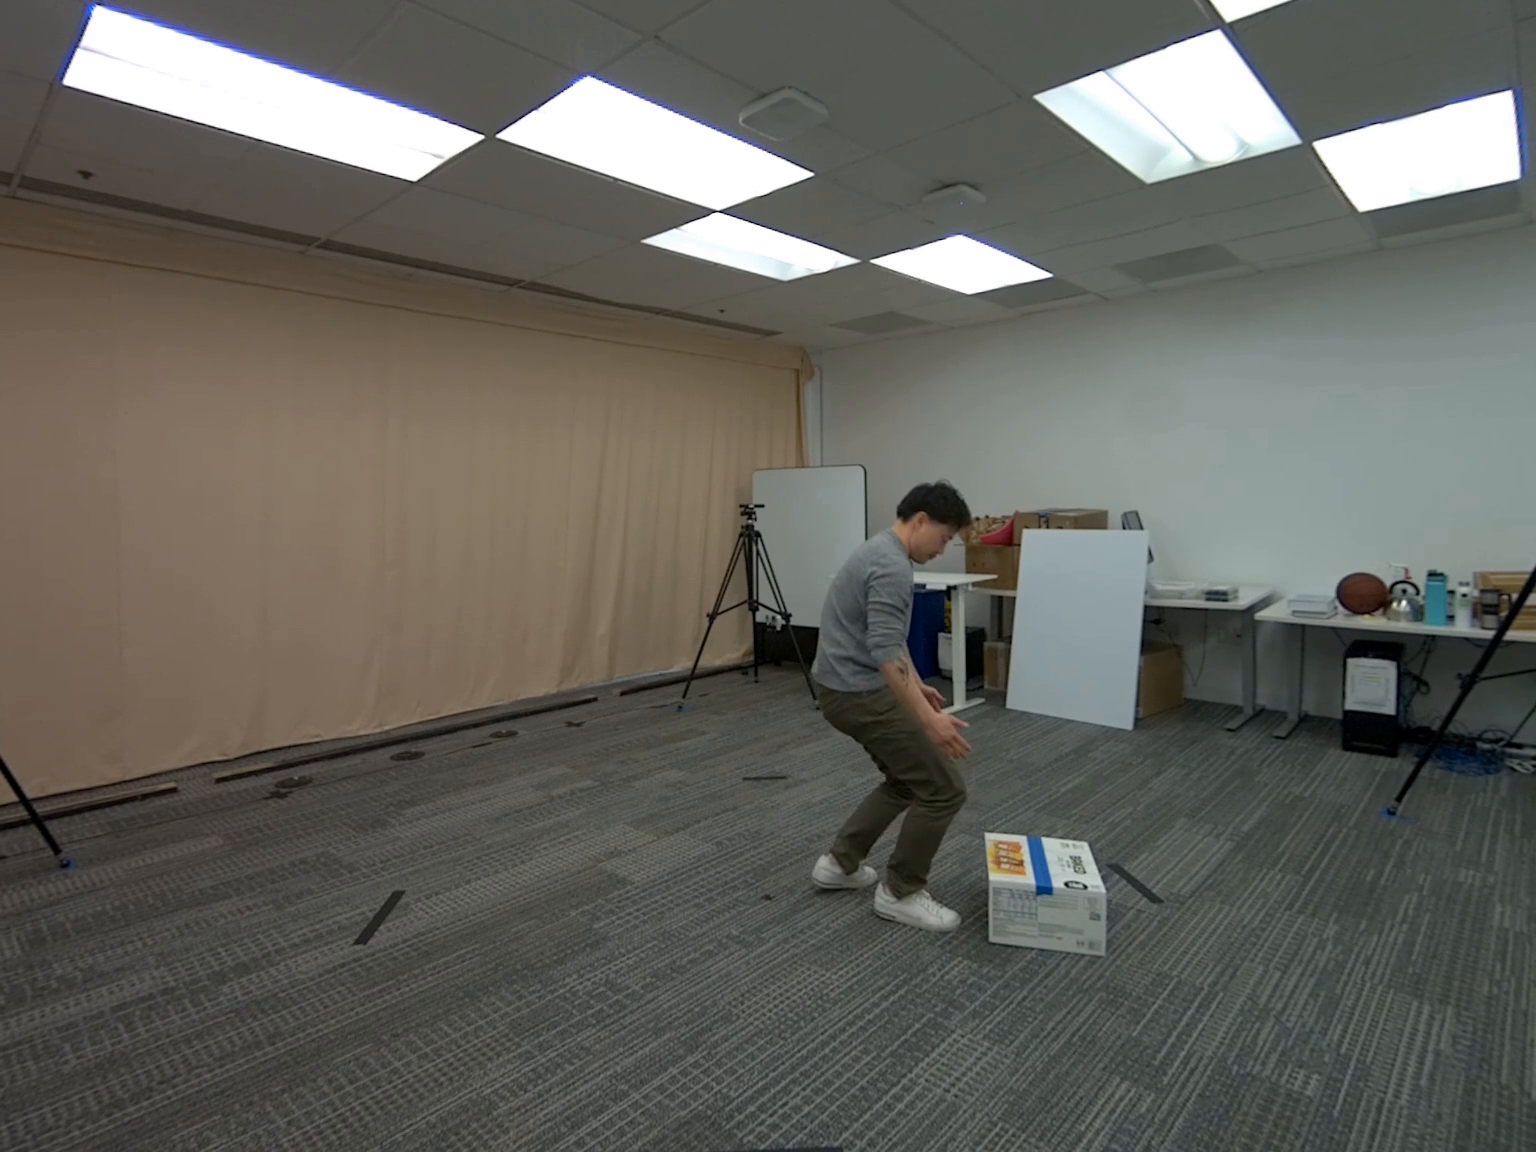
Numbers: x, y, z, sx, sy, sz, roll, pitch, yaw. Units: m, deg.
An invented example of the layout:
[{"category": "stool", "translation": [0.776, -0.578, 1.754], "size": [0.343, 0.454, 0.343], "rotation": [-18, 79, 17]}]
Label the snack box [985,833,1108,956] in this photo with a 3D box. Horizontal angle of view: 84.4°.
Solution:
[{"category": "snack box", "translation": [0.897, 1.034, 2.785], "size": [0.346, 0.205, 0.400], "rotation": [0, 4, 13]}]
